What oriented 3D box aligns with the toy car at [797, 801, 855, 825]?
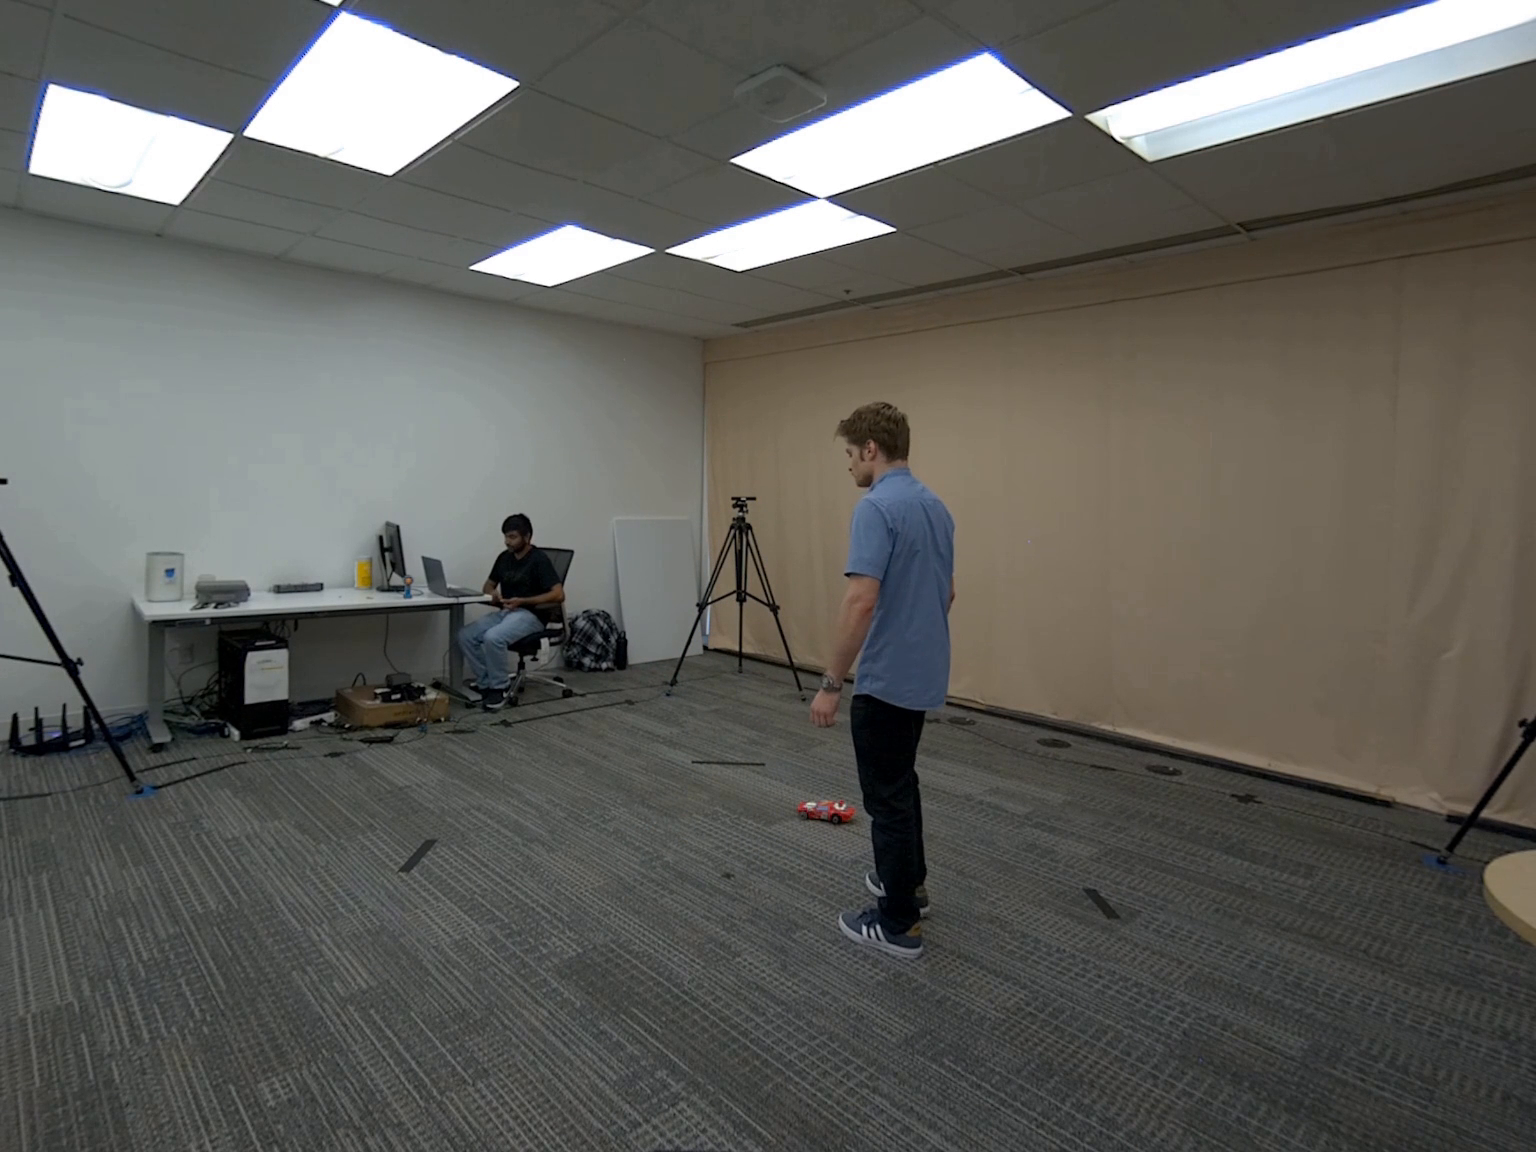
[{"bbox_3d":[0.253,1.035,3.696,0.257,0.083,0.129,-8,1,18],"label":"toy car"}]
